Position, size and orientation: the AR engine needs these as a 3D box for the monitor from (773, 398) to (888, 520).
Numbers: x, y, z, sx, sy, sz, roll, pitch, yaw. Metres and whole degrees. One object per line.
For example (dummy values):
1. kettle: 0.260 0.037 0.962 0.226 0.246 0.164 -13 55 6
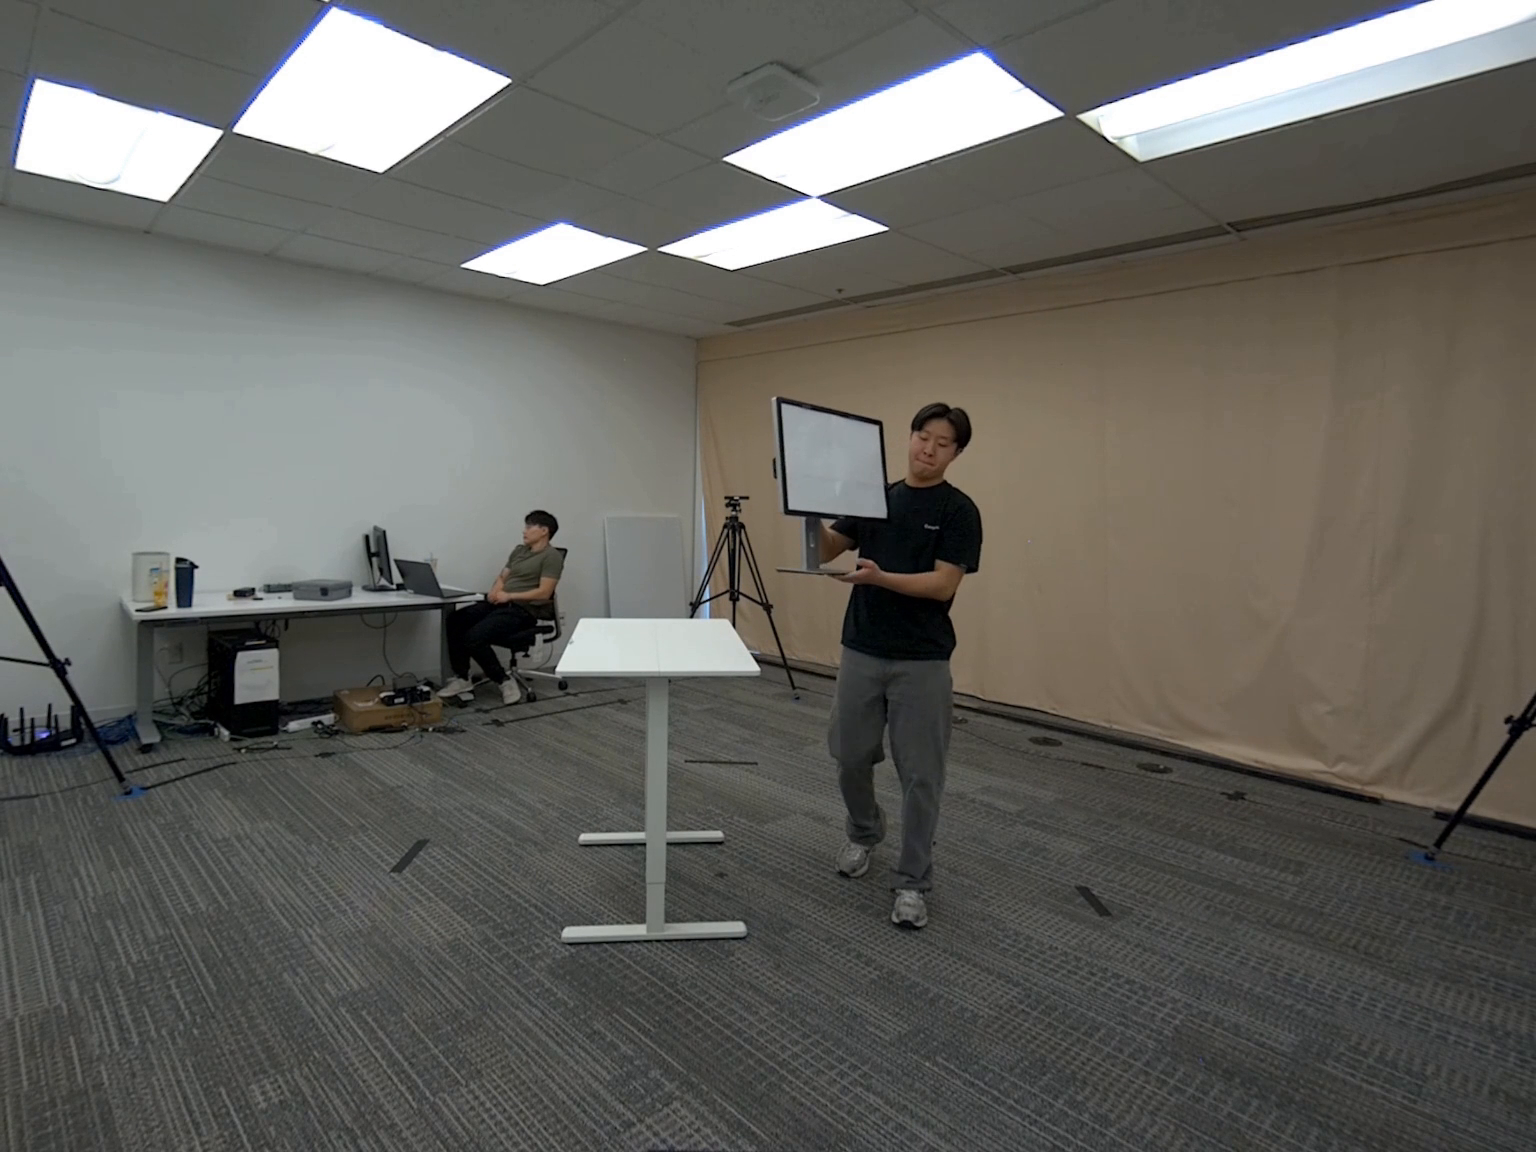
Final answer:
1. monitor: 0.182 -0.260 2.759 0.548 0.564 0.228 1 7 -44
